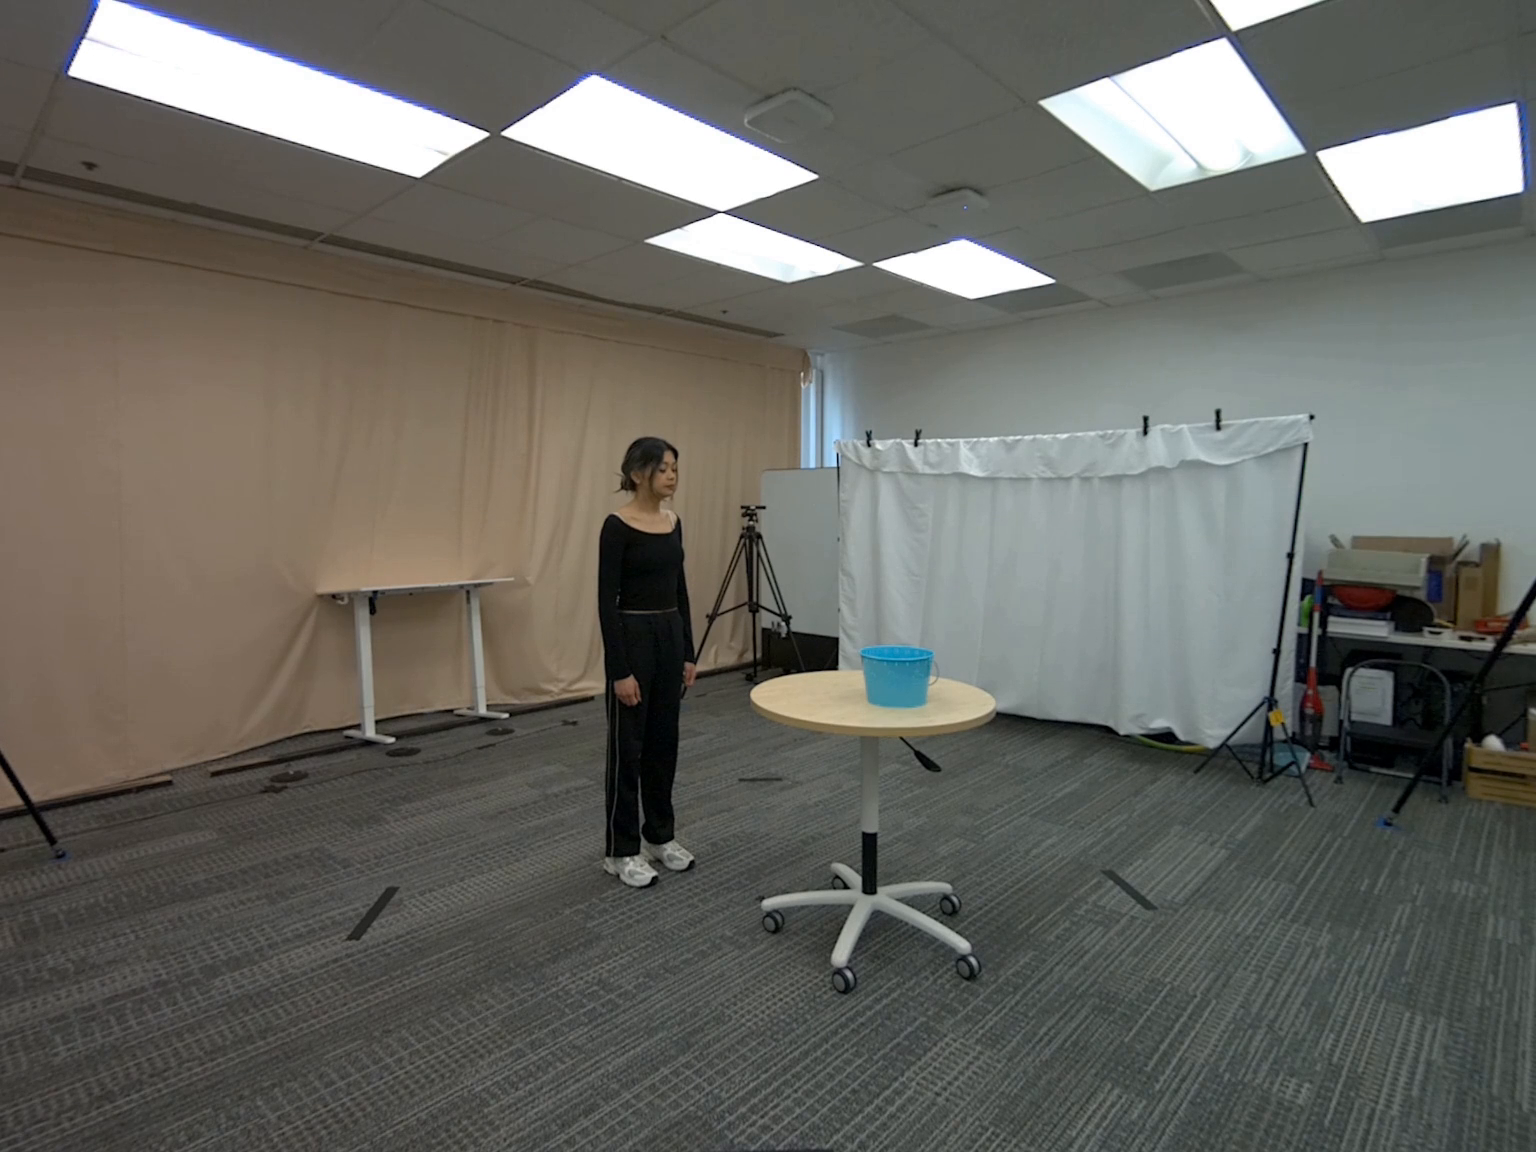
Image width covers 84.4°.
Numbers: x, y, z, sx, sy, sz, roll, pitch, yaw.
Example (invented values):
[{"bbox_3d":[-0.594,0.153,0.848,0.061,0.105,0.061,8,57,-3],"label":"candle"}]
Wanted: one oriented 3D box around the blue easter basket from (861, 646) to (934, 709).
[{"bbox_3d":[0.422,0.320,2.600,0.243,0.155,0.244,-1,5,-2],"label":"blue easter basket"}]
